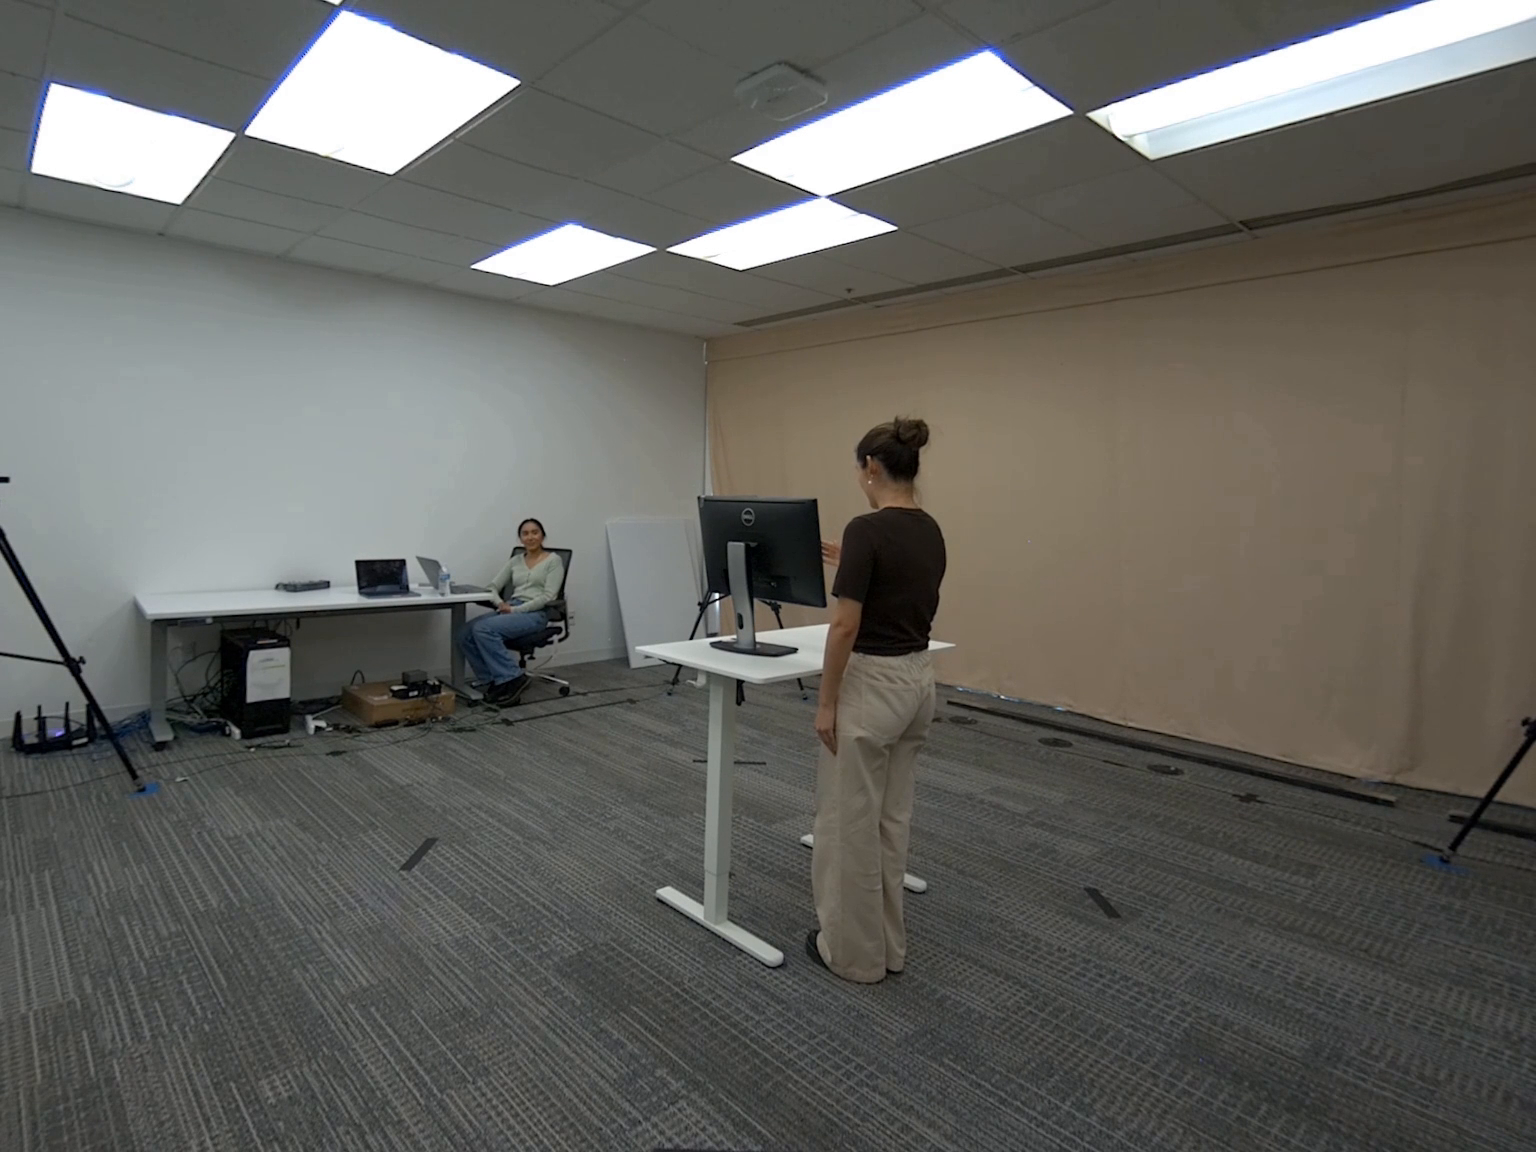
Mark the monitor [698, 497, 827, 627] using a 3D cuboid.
[{"bbox_3d":[-0.056,-0.002,2.798,0.182,0.522,0.553,1,3,-45],"label":"monitor"}]
